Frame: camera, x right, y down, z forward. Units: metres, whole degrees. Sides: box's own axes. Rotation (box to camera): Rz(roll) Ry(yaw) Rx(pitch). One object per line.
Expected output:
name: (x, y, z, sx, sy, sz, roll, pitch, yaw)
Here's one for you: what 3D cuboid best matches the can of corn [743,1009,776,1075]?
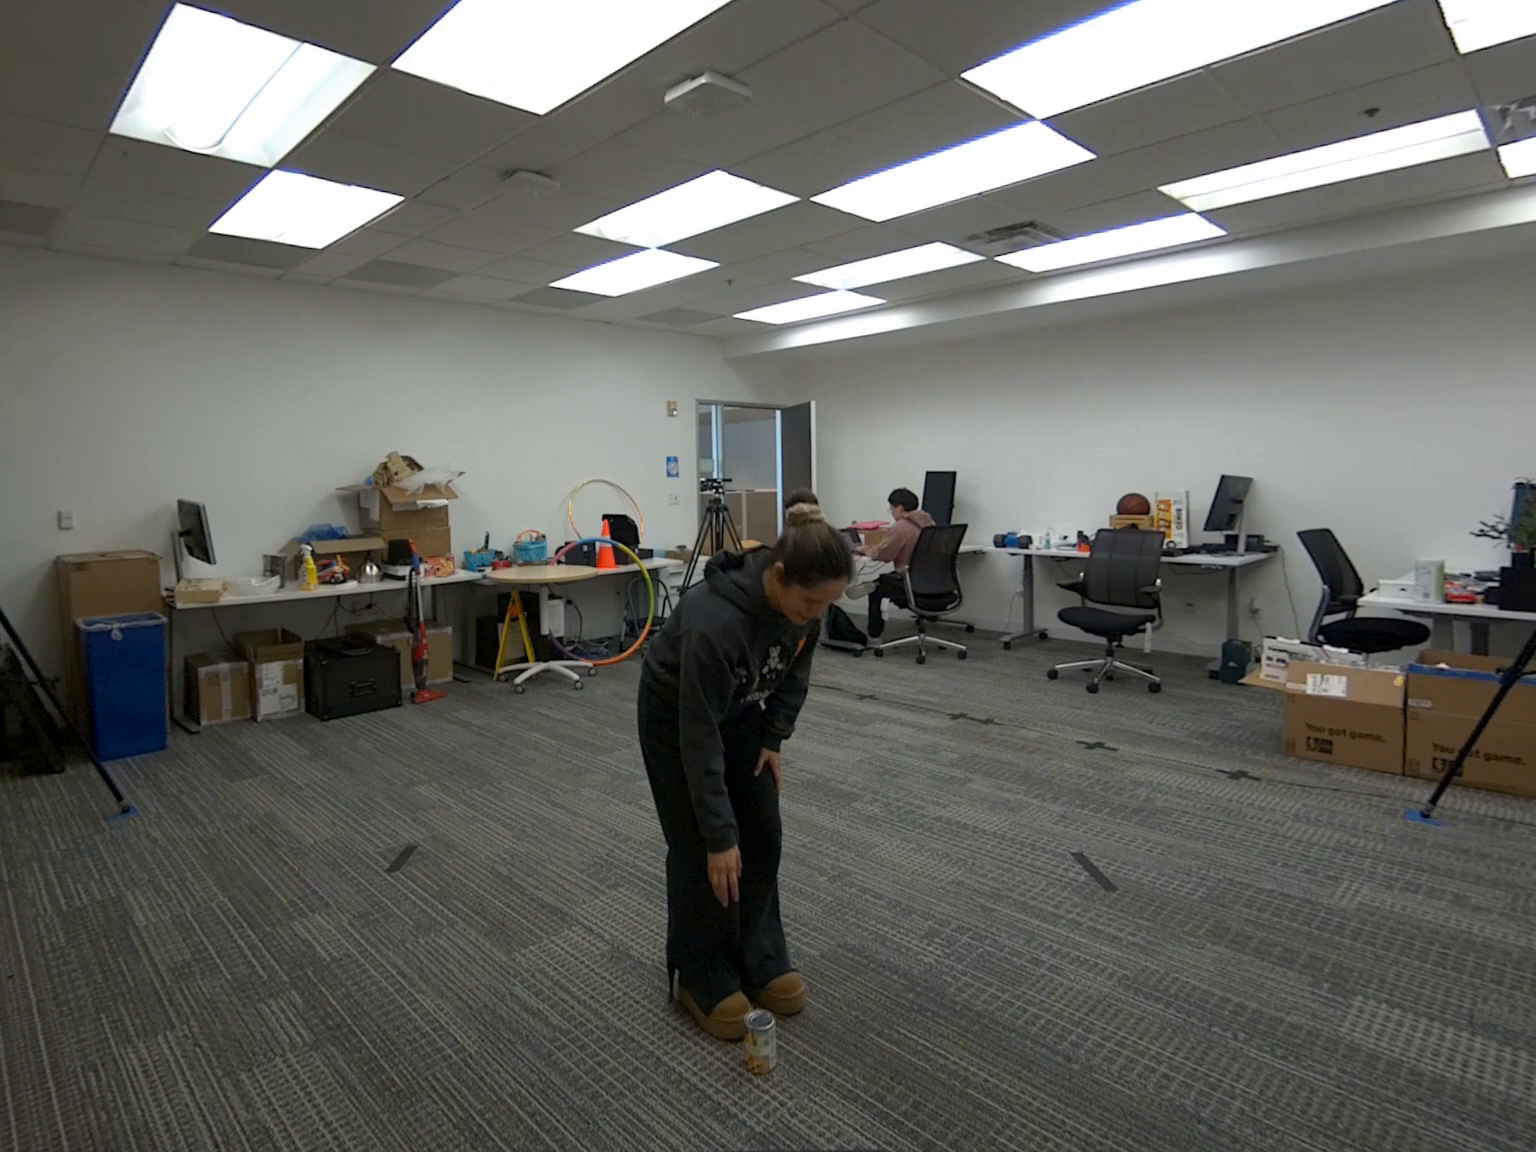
can of corn: (-0.010, 1.120, 2.025, 0.074, 0.111, 0.074, 0, 1, -2)
